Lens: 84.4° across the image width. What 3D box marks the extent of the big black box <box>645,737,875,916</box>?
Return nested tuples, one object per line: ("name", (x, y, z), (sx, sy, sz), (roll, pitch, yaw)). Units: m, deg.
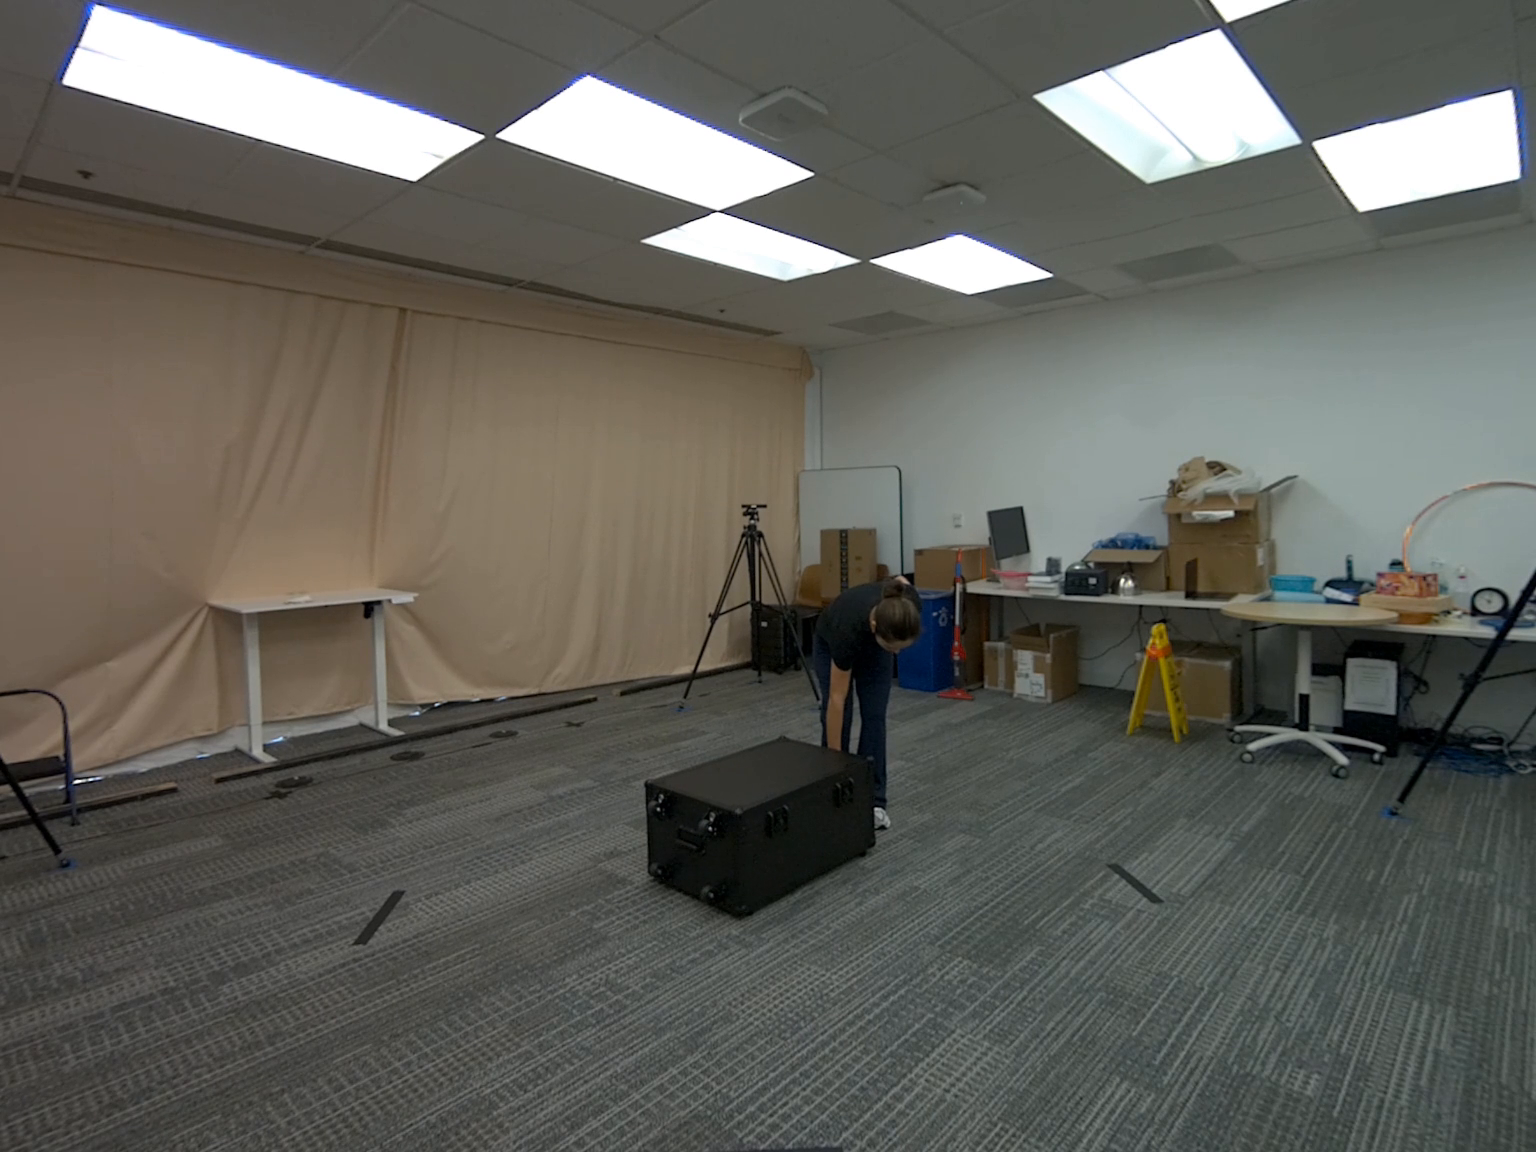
("big black box", (-0.026, 0.930, 3.216), (0.538, 0.395, 0.835), (2, 5, 43))
